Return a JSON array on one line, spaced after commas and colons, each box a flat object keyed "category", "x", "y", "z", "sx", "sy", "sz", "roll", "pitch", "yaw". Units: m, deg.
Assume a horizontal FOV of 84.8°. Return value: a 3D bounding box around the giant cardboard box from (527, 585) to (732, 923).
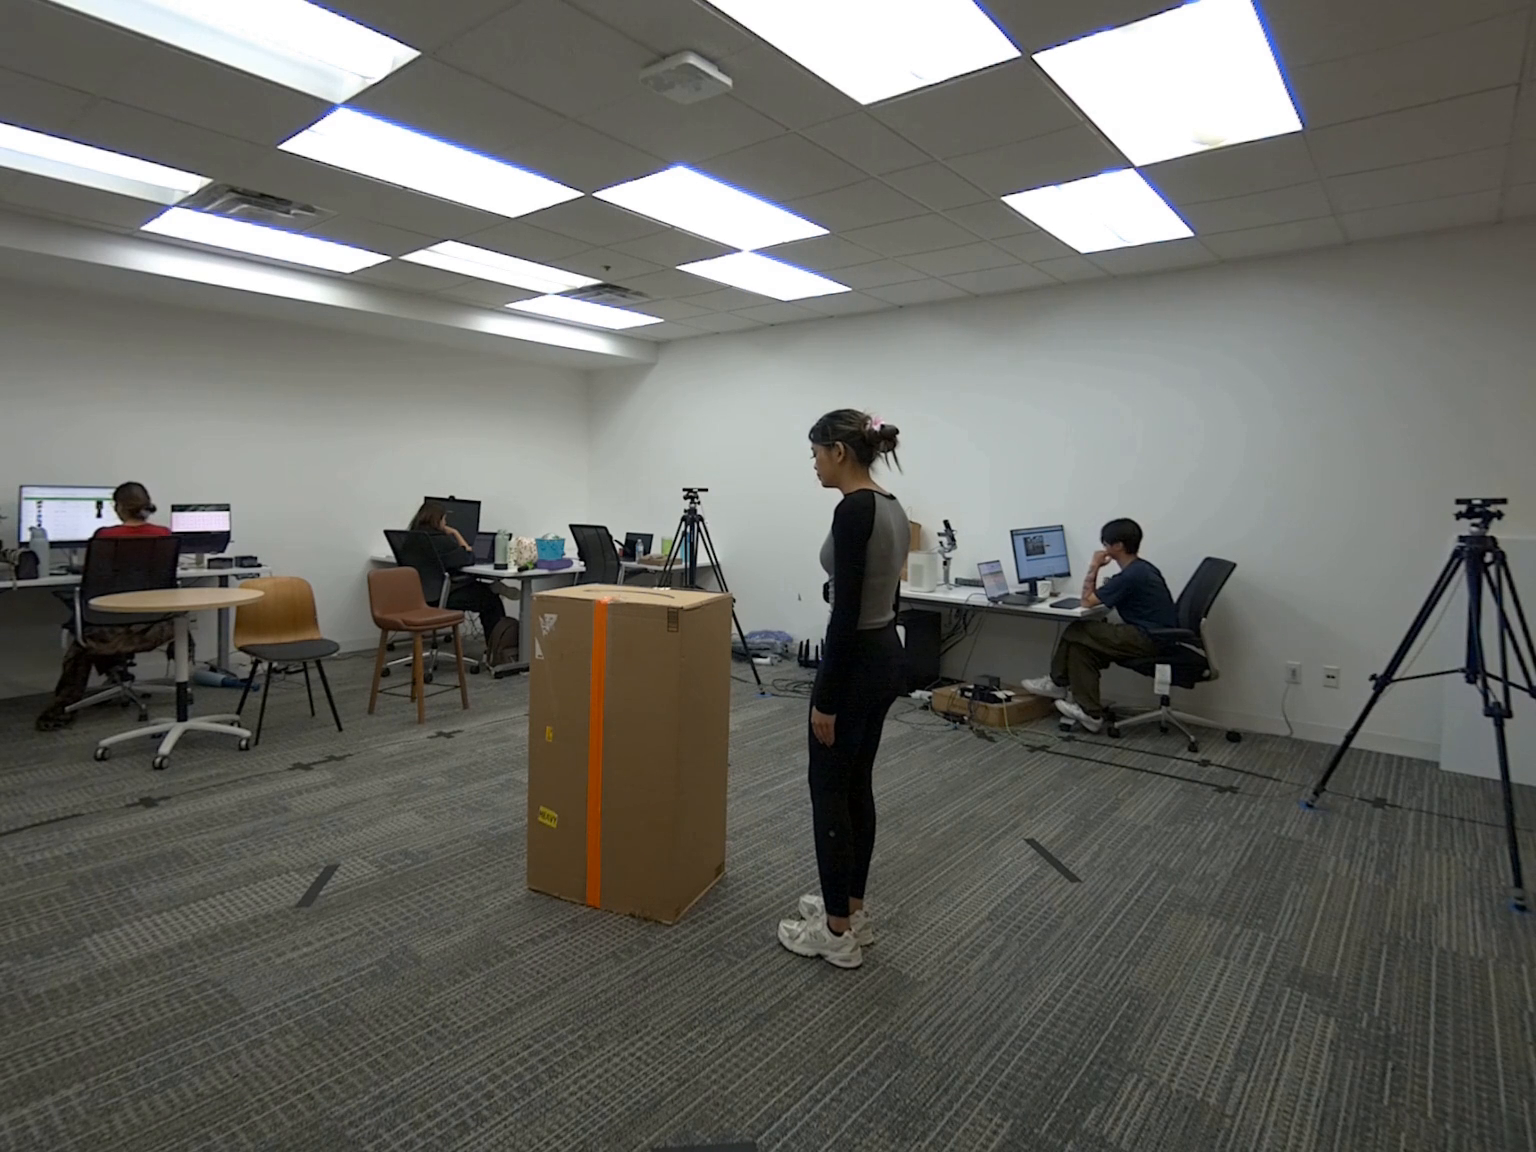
[{"category": "giant cardboard box", "x": -0.492, "y": 0.572, "z": 2.976, "sx": 0.598, "sy": 1.025, "sz": 0.437, "roll": 3, "pitch": 2, "yaw": 22}]
